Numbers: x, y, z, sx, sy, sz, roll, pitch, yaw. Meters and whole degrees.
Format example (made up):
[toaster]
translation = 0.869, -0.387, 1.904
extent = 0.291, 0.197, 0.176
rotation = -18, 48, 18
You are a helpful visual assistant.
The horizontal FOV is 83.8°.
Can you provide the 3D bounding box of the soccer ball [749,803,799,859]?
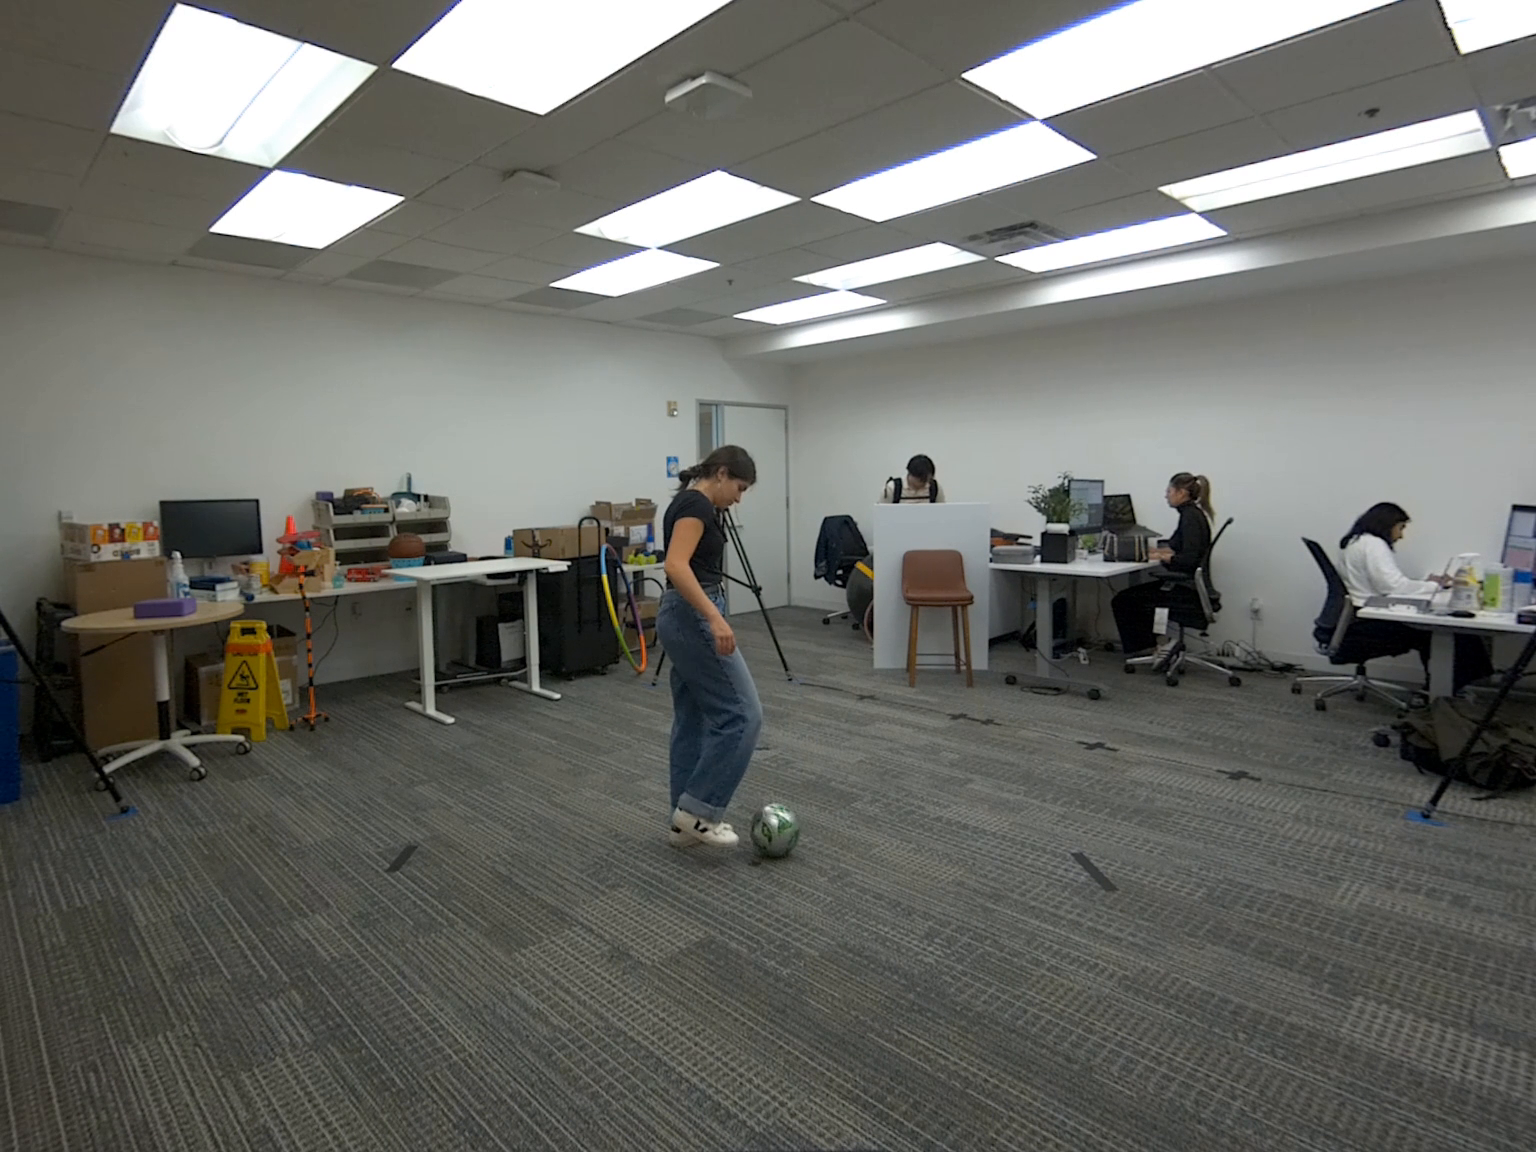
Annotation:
[soccer ball]
translation = 0.028, 0.940, 3.174
extent = 0.187, 0.187, 0.188
rotation = -1, 5, -2
